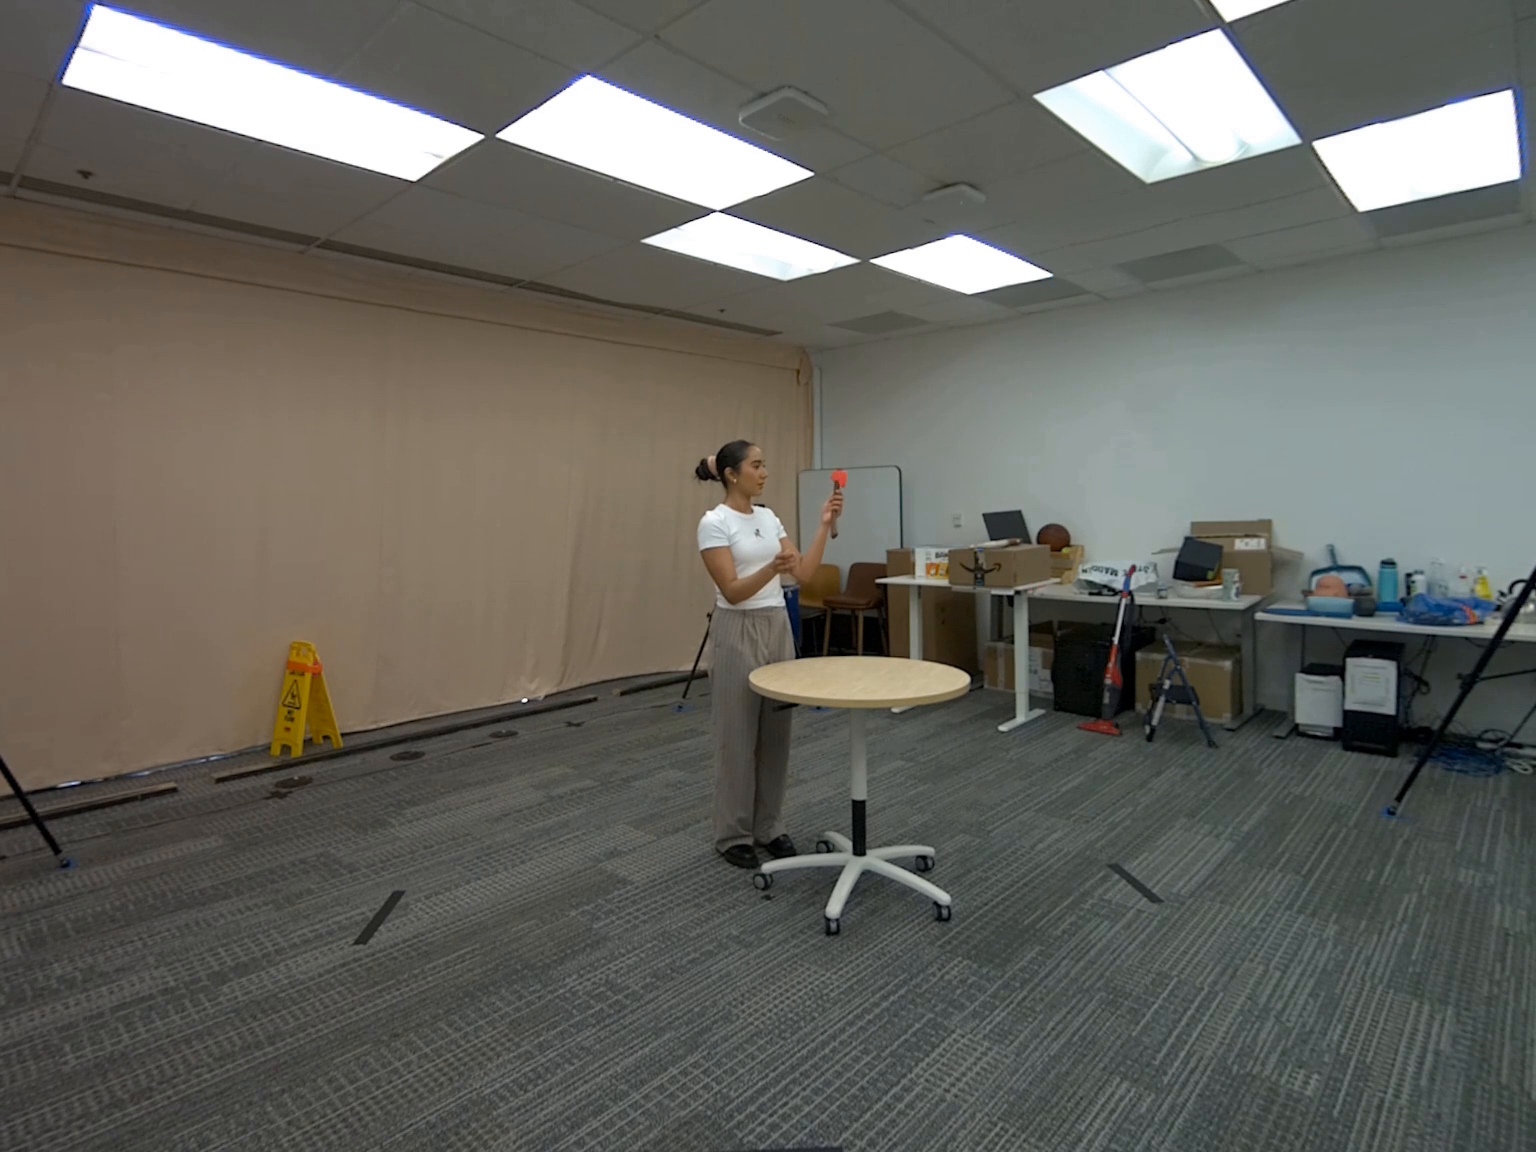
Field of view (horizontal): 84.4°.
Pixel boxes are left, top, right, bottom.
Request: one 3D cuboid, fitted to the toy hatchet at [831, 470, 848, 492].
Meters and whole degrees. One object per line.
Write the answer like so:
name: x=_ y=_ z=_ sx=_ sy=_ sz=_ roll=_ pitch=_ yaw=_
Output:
toy hatchet: x=0.278 y=-0.287 z=3.200 sx=0.029 sy=0.273 sz=0.132 roll=9 pitch=-22 yaw=-21
